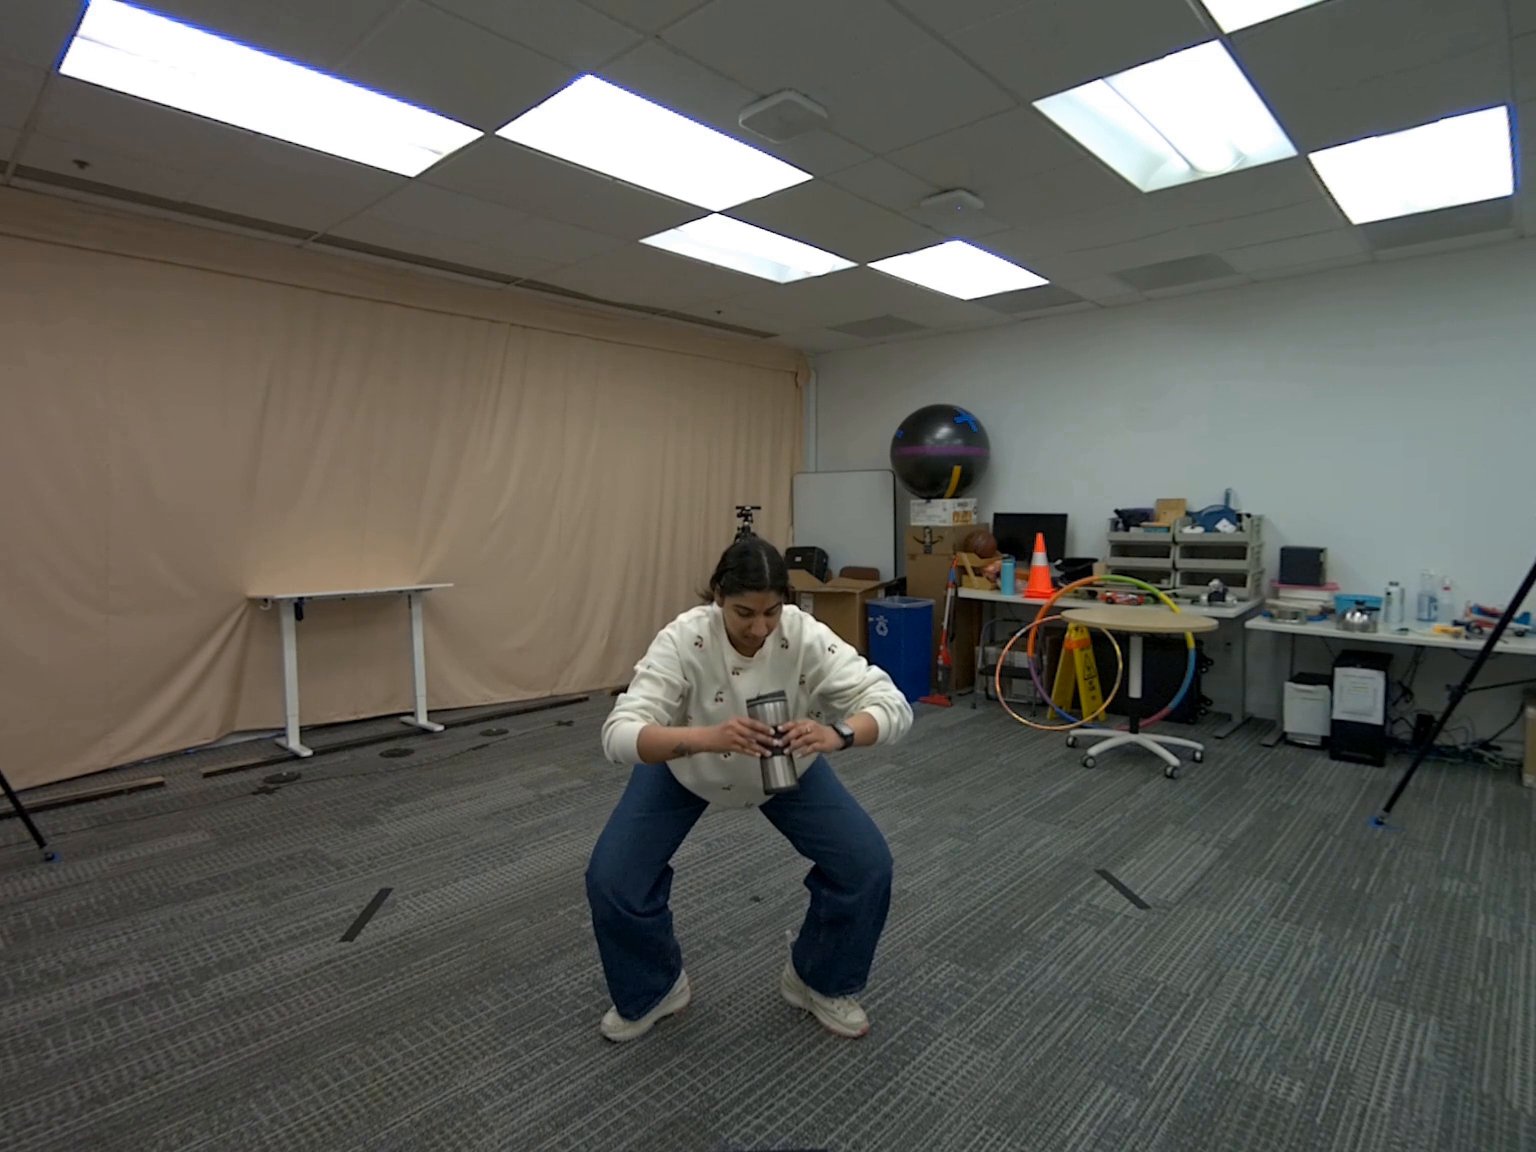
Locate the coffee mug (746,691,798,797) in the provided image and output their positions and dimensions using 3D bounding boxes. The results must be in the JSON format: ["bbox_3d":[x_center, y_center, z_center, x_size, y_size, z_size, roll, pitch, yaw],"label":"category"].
[{"bbox_3d":[0.007,0.347,1.730,0.089,0.206,0.118,-19,-20,27],"label":"coffee mug"}]
